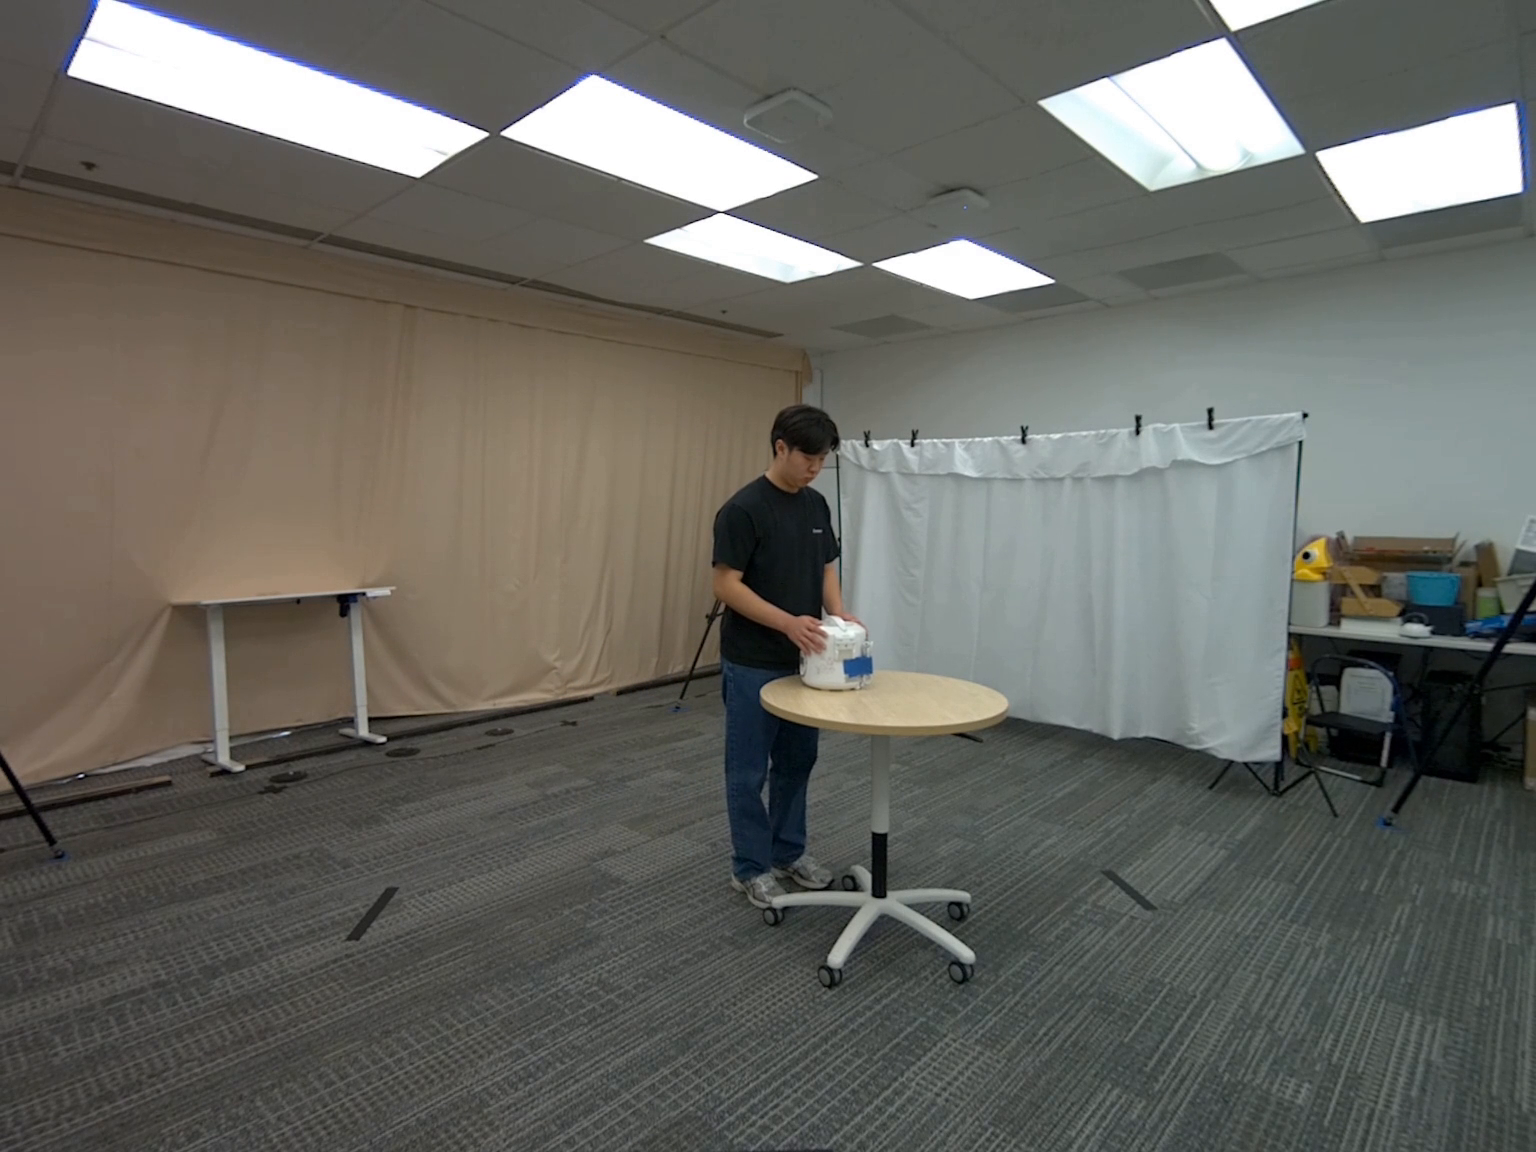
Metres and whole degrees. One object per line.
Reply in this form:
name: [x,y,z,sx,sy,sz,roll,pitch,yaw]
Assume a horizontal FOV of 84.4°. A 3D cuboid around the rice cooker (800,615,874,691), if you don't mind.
rice cooker: [0.218,0.247,2.780,0.214,0.232,0.224,1,2,-14]
